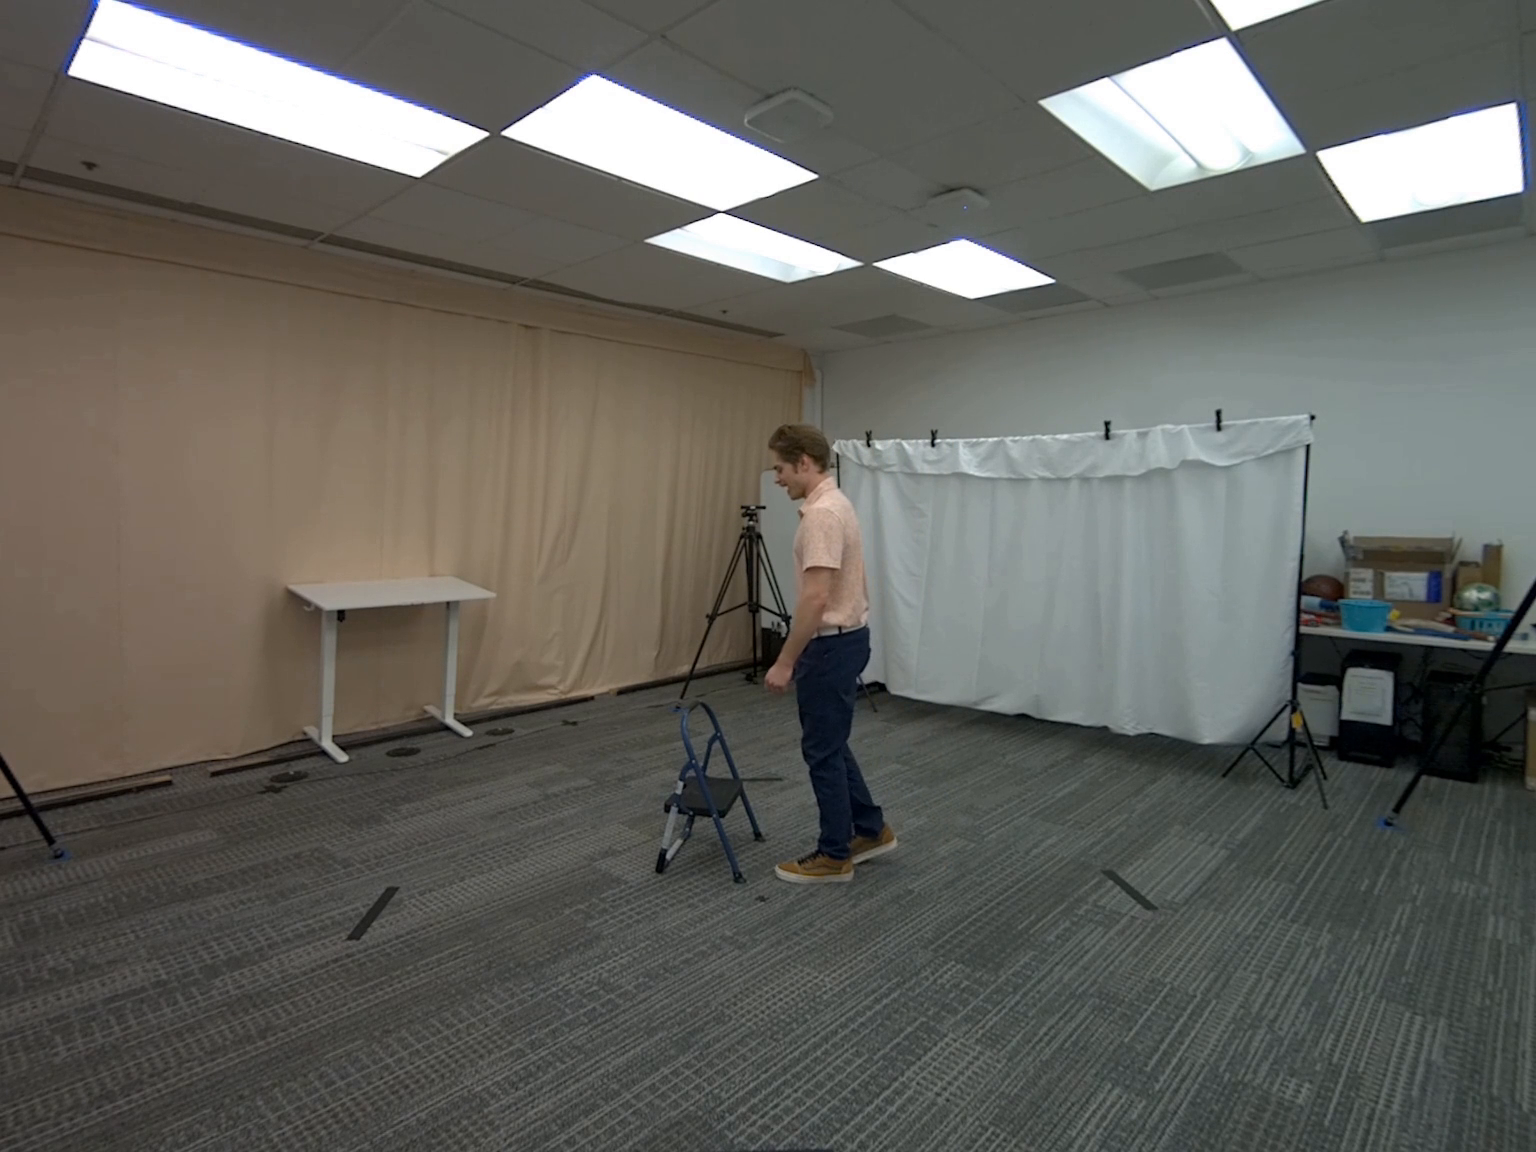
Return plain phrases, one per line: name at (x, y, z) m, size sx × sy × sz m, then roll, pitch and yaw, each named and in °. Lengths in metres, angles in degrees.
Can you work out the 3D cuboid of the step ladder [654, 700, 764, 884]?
step ladder at (-0.228, 0.813, 3.341) m, size 0.354 × 0.605 × 0.425 m, roll 0°, pitch 3°, yaw 12°
